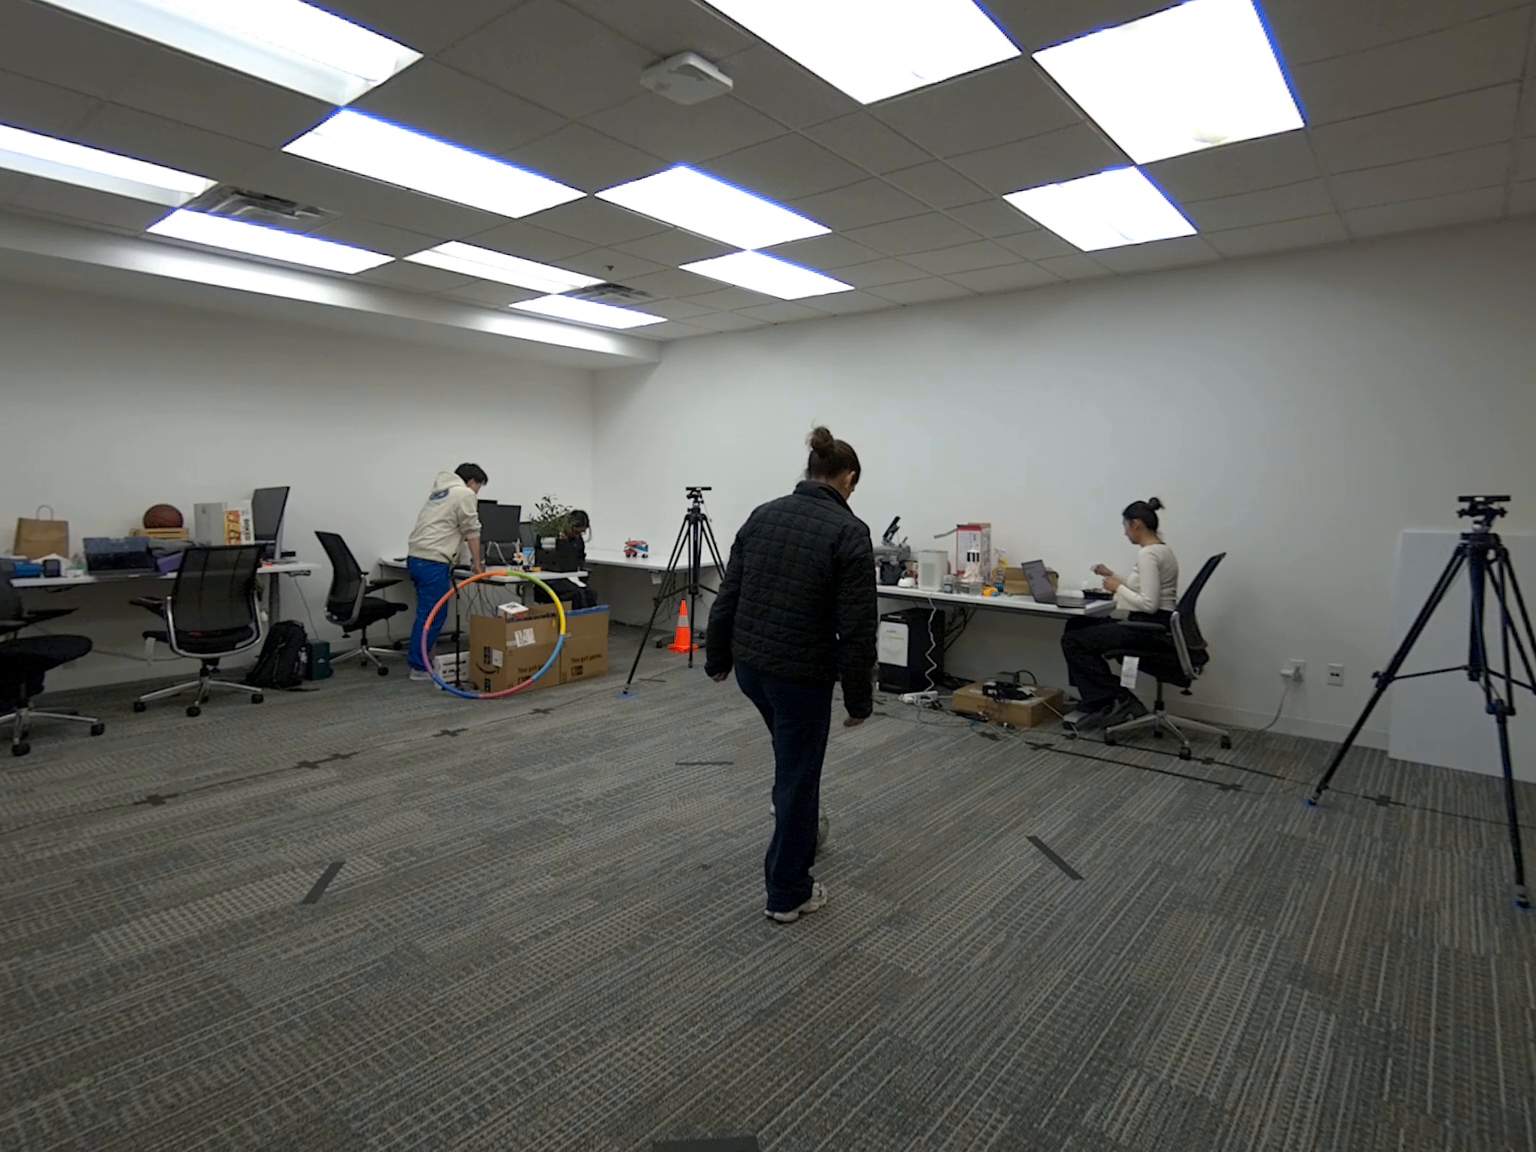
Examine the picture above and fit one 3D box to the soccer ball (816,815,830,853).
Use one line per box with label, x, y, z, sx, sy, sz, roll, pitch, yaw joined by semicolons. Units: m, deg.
soccer ball;0.133;0.954;3.277;0.187;0.187;0.188;1;4;-2
